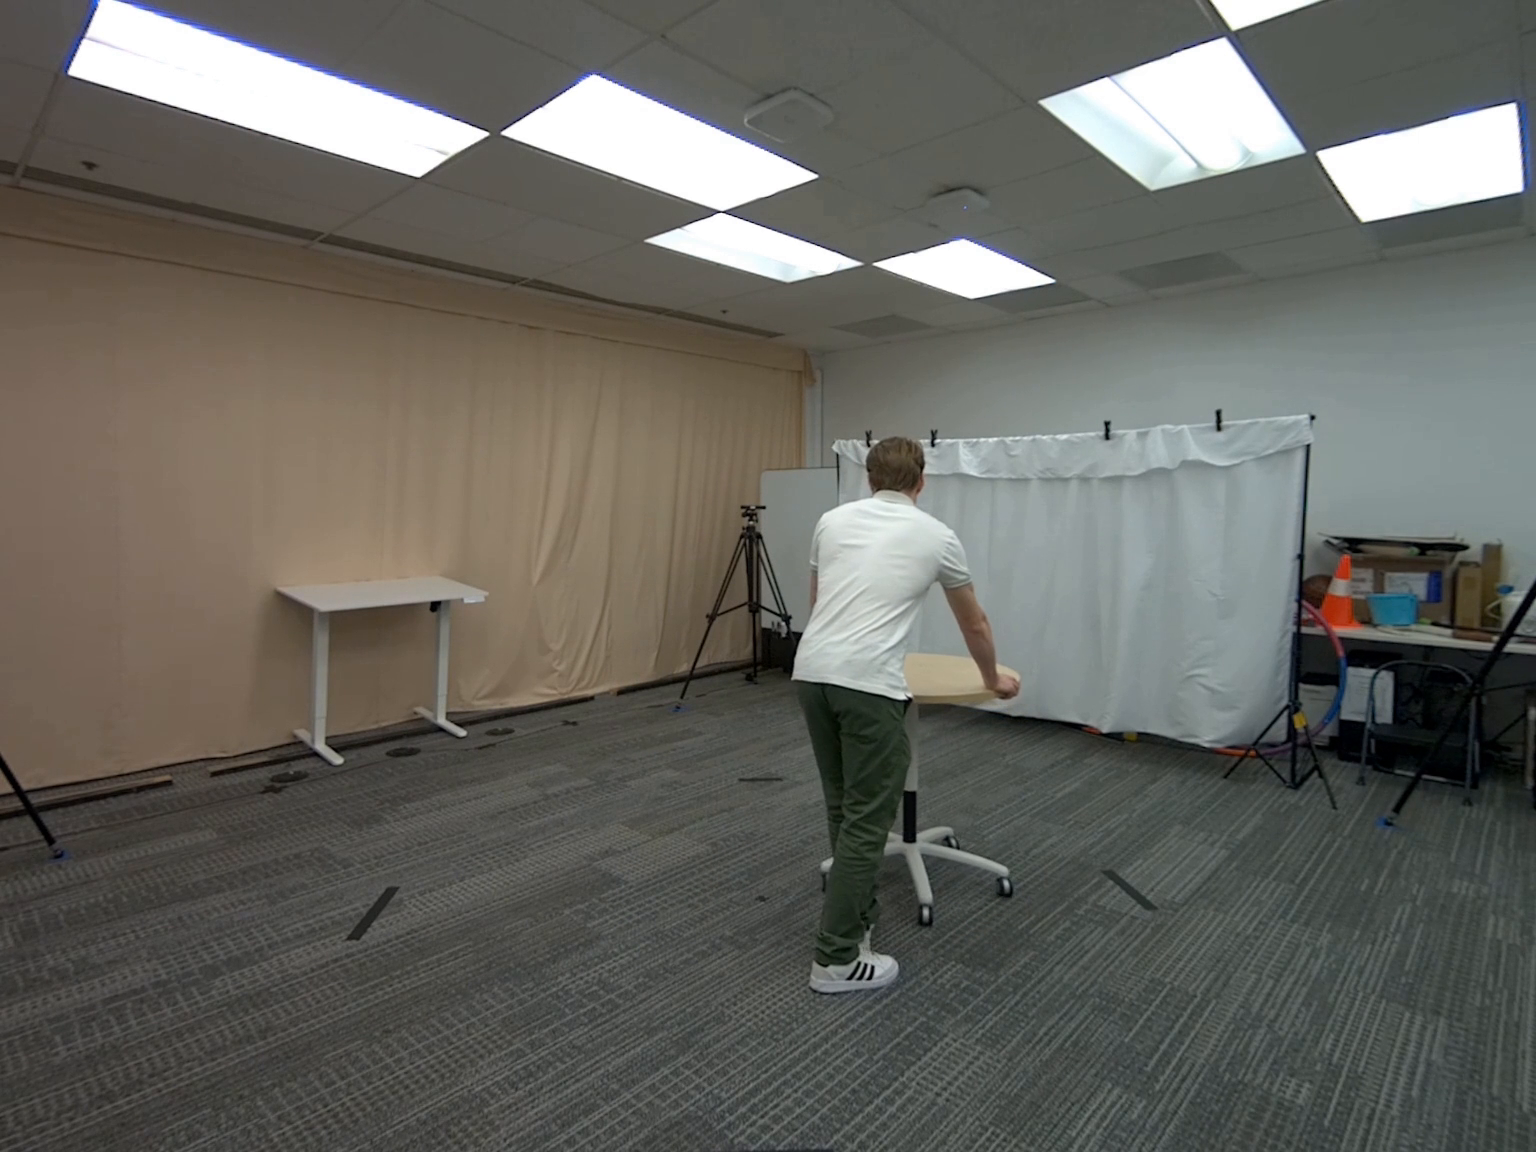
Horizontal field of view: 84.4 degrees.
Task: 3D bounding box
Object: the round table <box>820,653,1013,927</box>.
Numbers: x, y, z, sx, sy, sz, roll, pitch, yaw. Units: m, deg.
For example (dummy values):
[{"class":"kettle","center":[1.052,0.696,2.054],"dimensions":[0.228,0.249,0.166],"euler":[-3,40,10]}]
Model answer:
[{"class":"round table","center":[0.535,0.743,3.130],"dimensions":[0.763,0.792,0.767],"euler":[0,4,-2]}]
